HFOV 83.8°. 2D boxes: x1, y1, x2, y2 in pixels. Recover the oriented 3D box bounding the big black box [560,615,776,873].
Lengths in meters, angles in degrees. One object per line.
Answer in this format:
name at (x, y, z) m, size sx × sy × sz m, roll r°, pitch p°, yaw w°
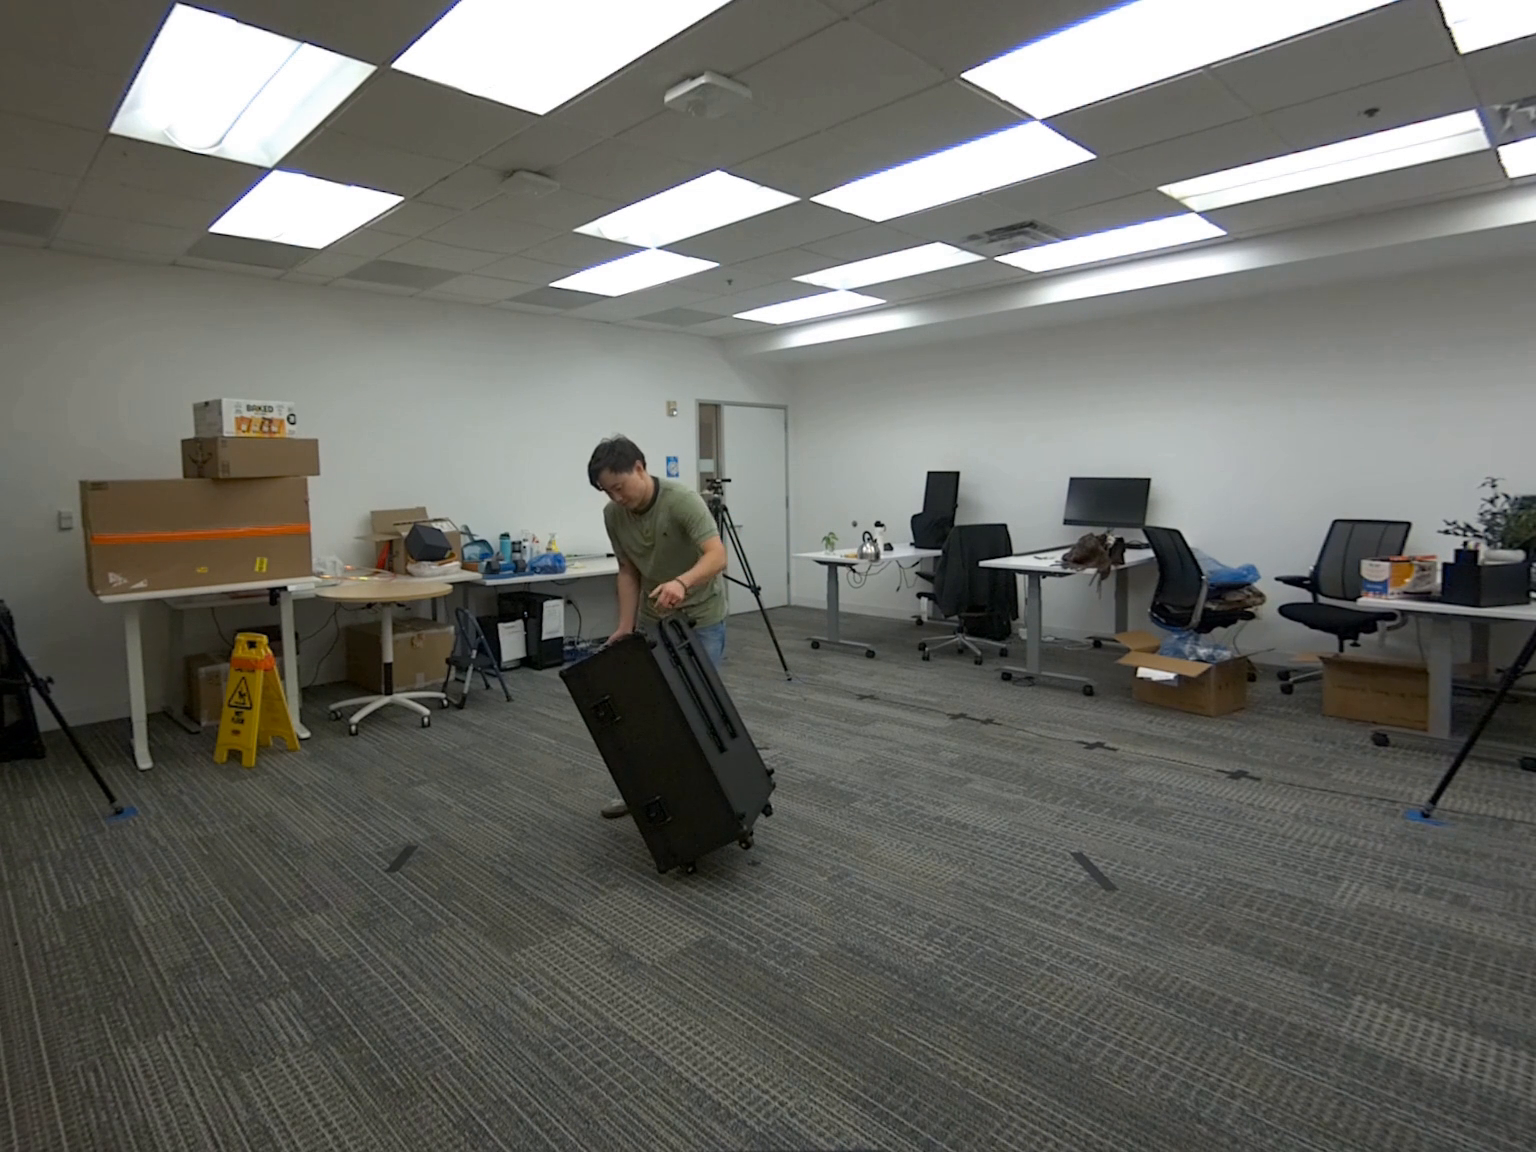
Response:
big black box at (-0.325, 0.610, 3.162) m, size 0.399 × 0.865 × 0.516 m, roll -28°, pitch -2°, yaw 15°
